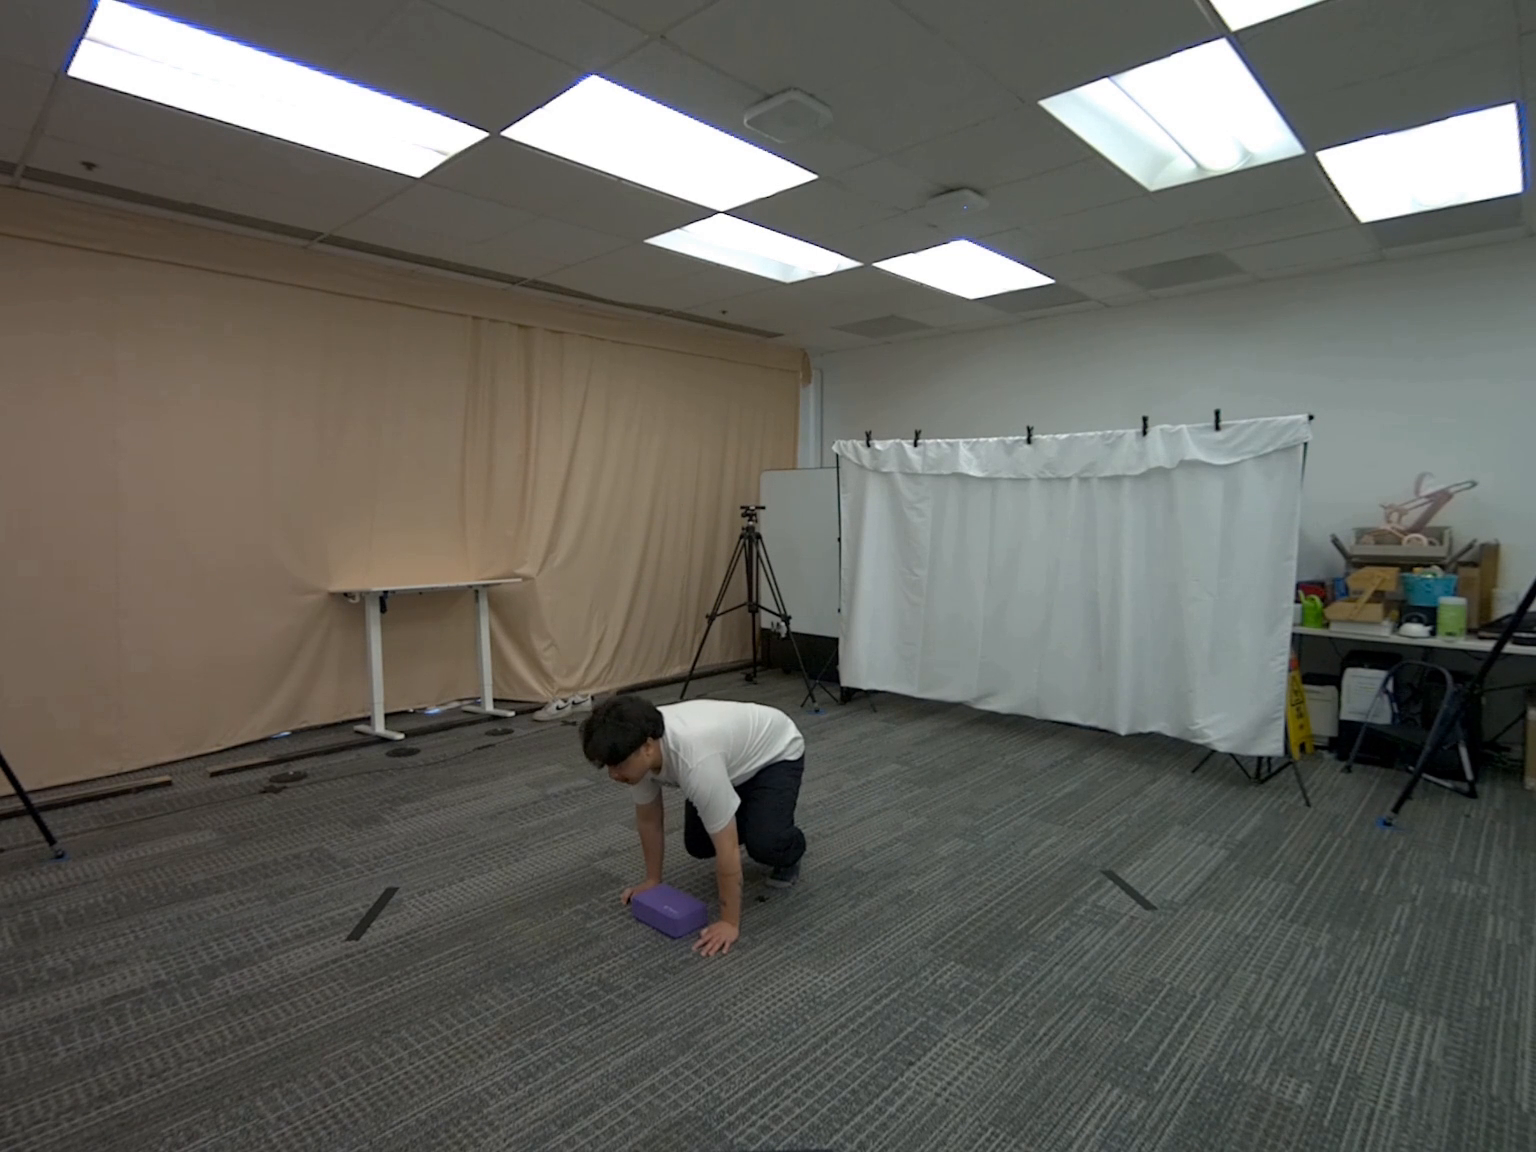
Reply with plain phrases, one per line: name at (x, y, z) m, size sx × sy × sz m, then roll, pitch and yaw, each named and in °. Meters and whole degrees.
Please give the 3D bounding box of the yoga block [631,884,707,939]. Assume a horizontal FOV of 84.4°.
yoga block at (-0.327, 1.120, 2.834) m, size 0.237 × 0.076 × 0.144 m, roll 3°, pitch 6°, yaw 42°
